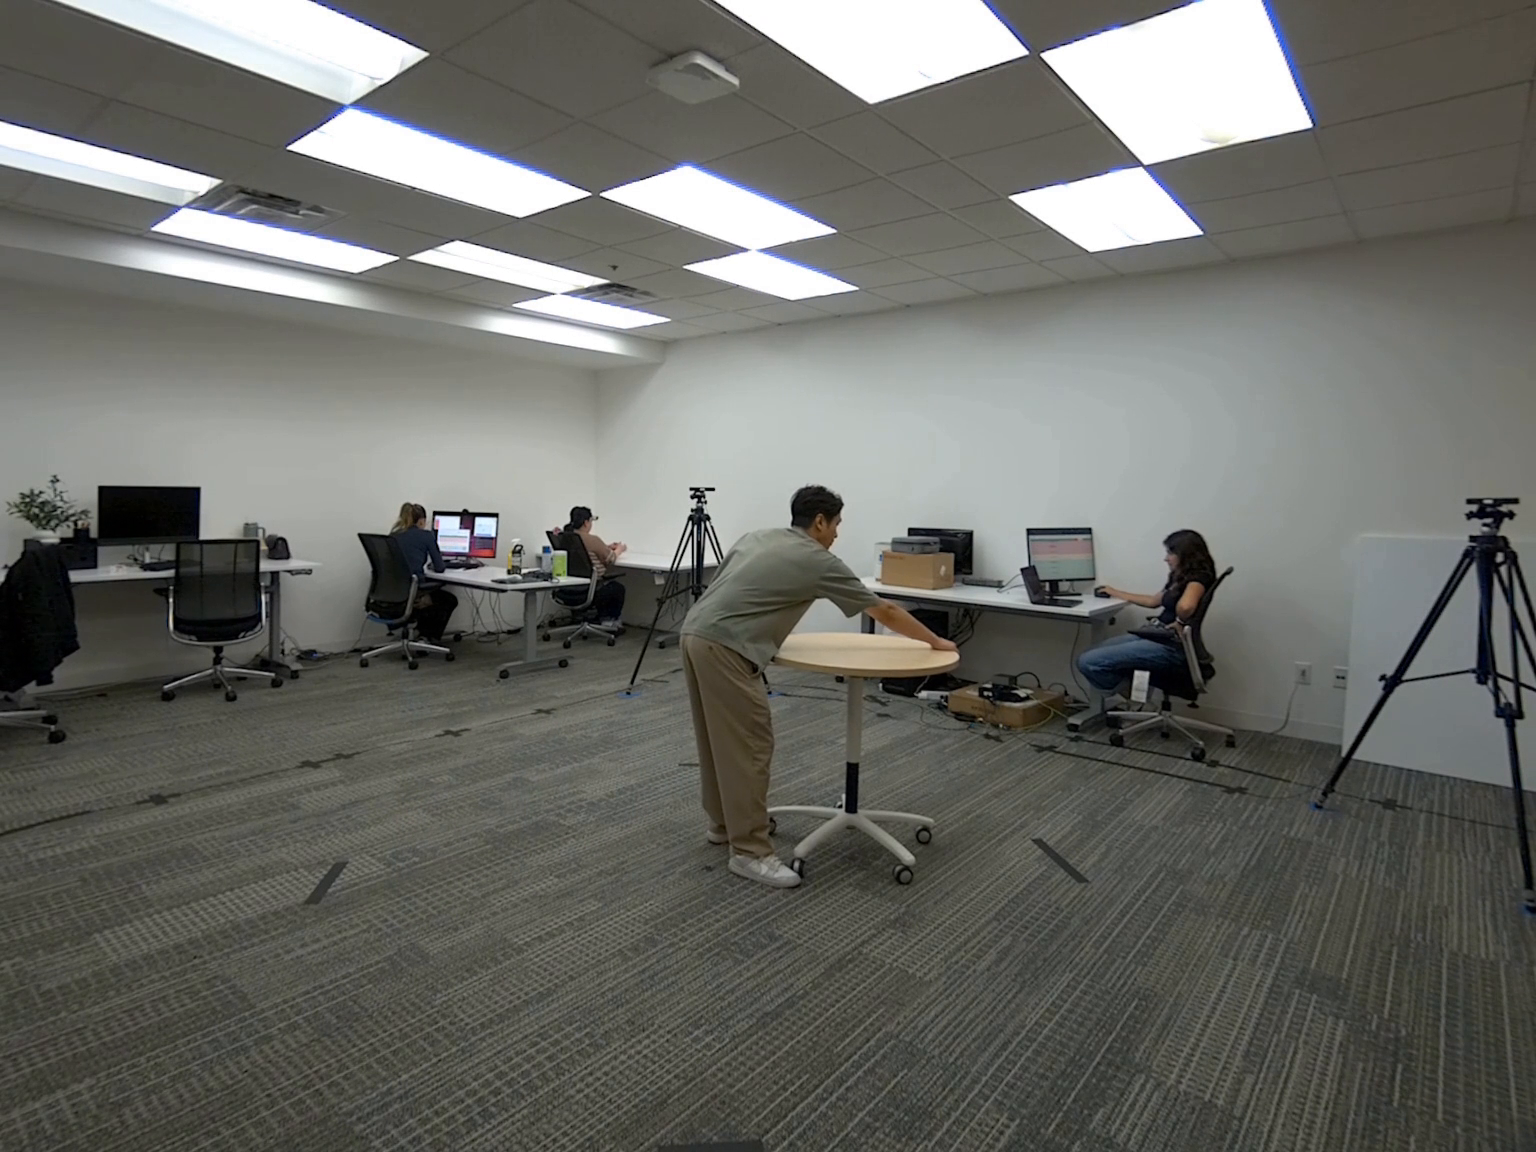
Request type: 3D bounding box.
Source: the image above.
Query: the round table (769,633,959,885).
[{"bbox_3d":[0.329,0.669,3.317,0.784,0.784,0.789,2,4,-2],"label":"round table"}]
